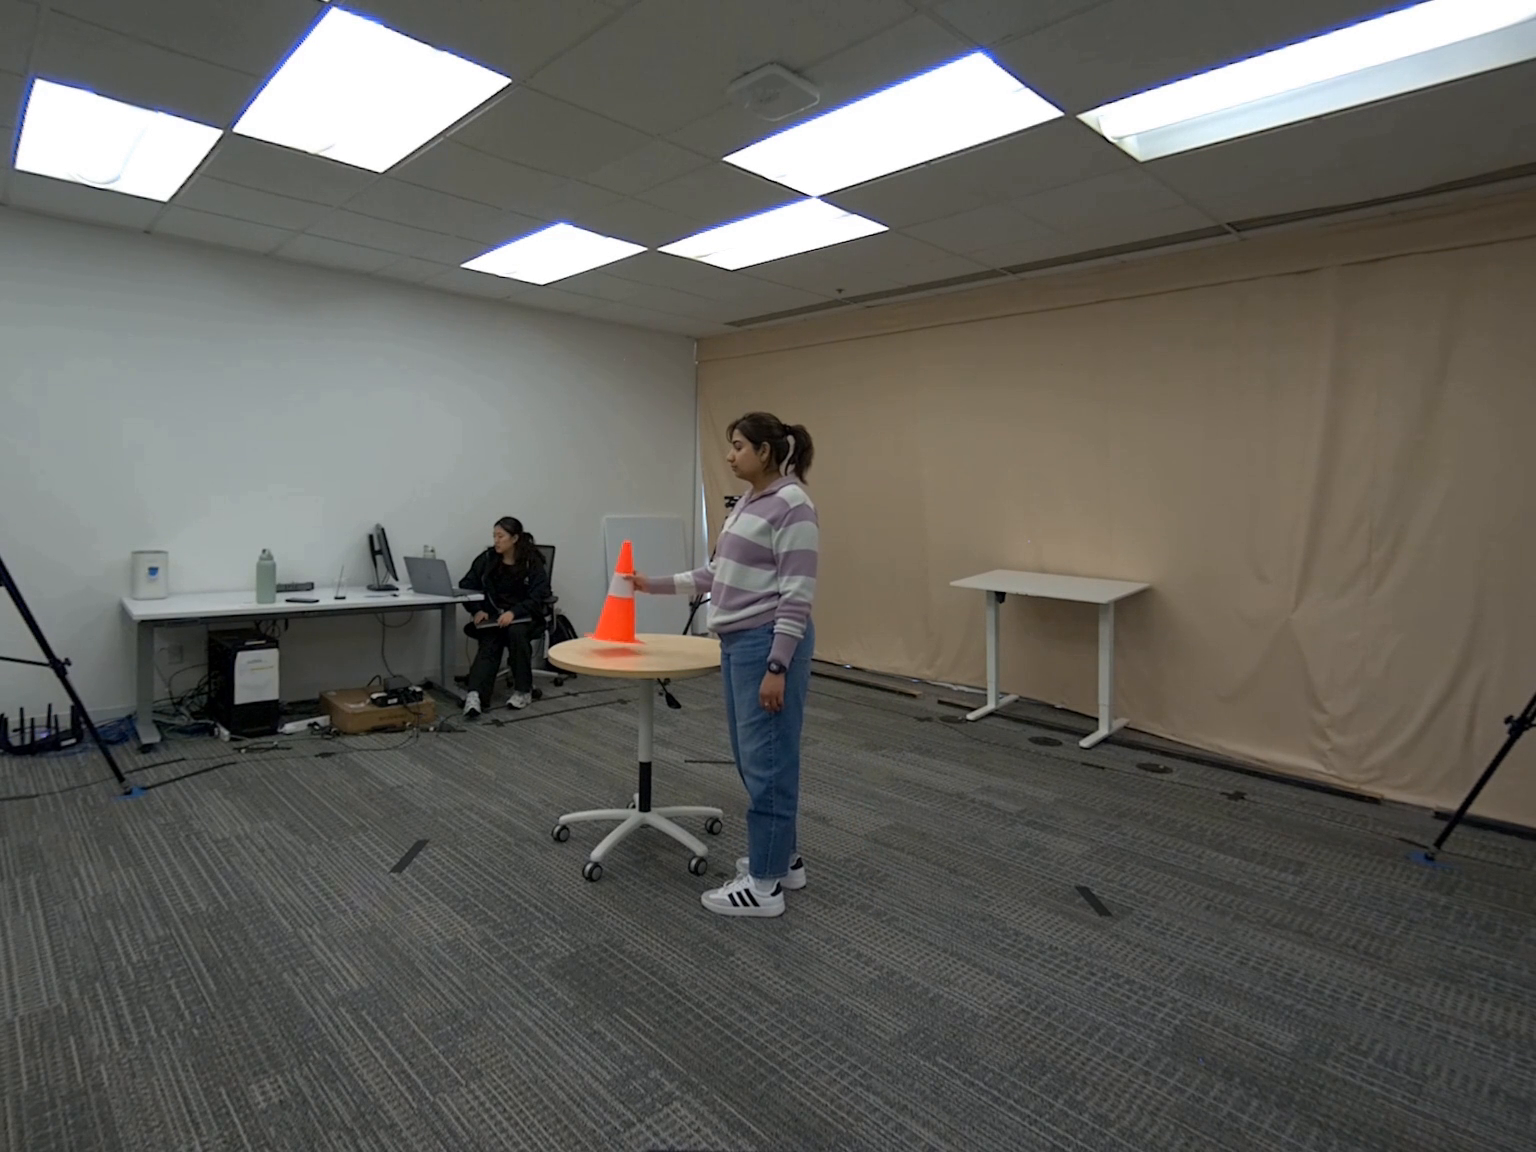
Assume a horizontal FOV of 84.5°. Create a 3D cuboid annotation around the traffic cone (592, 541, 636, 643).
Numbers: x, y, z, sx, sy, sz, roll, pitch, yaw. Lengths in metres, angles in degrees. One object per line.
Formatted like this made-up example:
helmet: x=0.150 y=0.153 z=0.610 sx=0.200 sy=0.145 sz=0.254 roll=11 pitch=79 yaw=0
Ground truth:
traffic cone: x=-0.566 y=0.061 z=3.254 sx=0.201 sy=0.383 sz=0.207 roll=8 pitch=2 yaw=-25
